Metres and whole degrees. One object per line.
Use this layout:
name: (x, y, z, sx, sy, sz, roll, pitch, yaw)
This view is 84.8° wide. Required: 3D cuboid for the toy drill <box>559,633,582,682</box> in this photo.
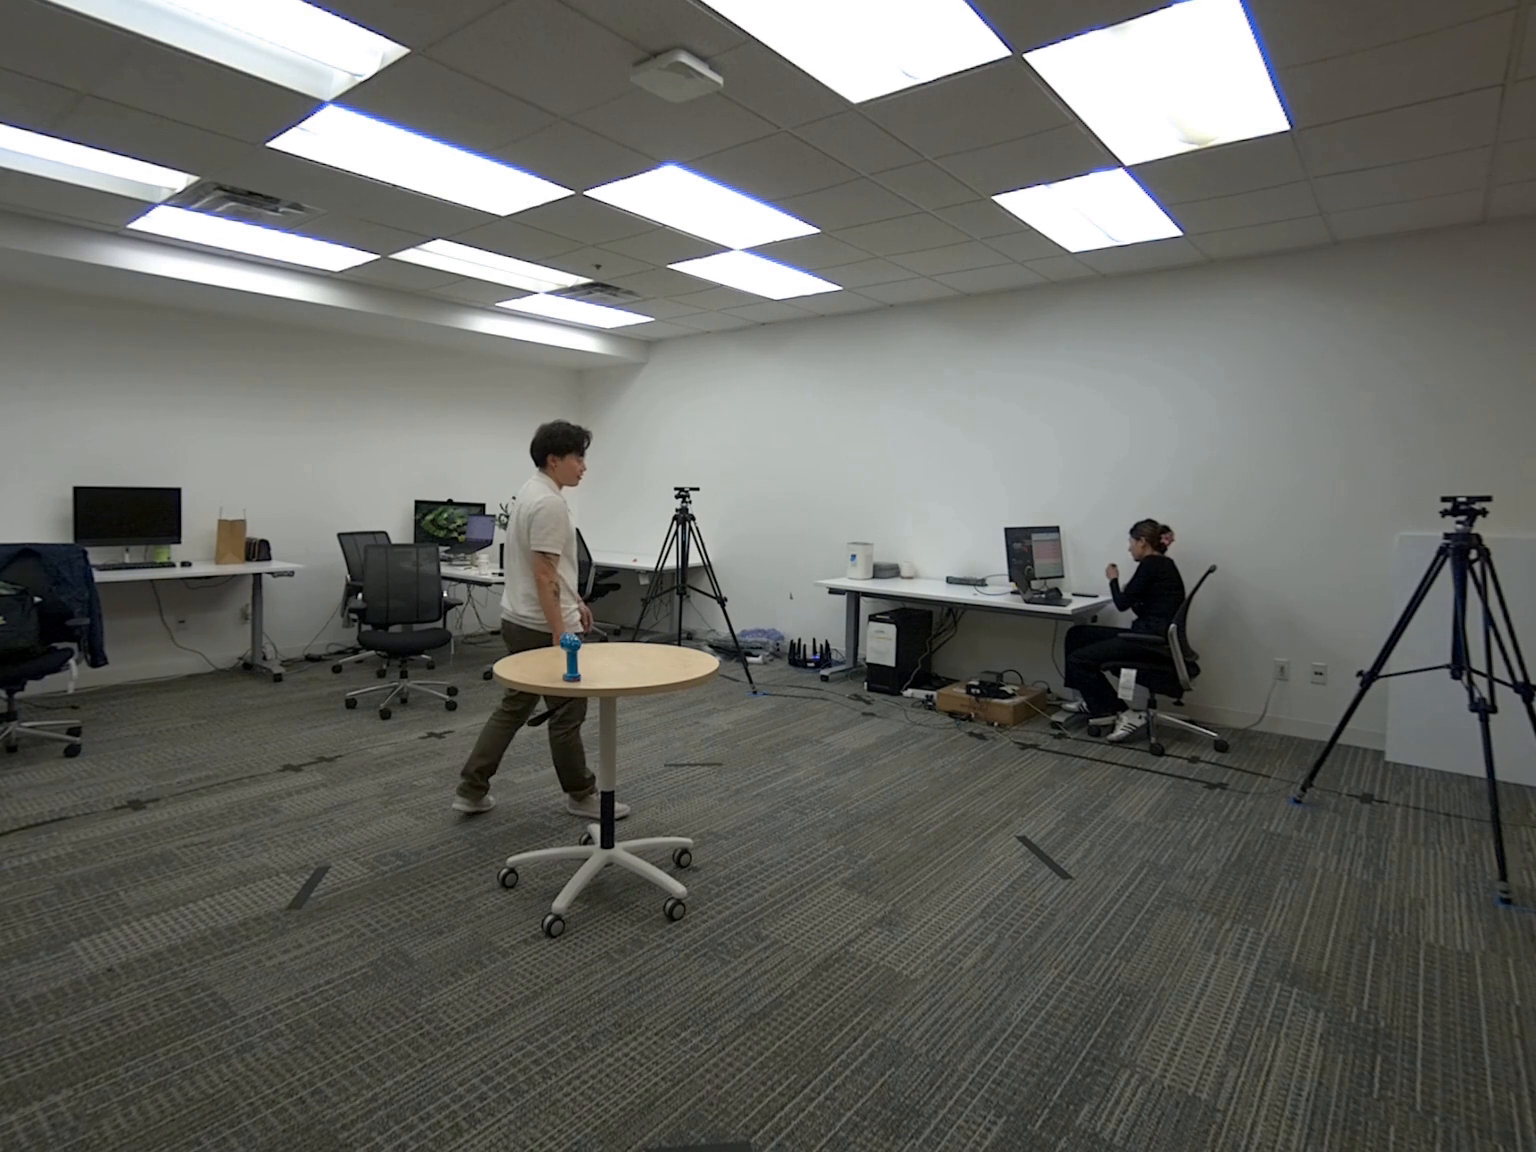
toy drill: (-0.636, 0.244, 2.686, 0.059, 0.145, 0.175, -1, 5, -30)
